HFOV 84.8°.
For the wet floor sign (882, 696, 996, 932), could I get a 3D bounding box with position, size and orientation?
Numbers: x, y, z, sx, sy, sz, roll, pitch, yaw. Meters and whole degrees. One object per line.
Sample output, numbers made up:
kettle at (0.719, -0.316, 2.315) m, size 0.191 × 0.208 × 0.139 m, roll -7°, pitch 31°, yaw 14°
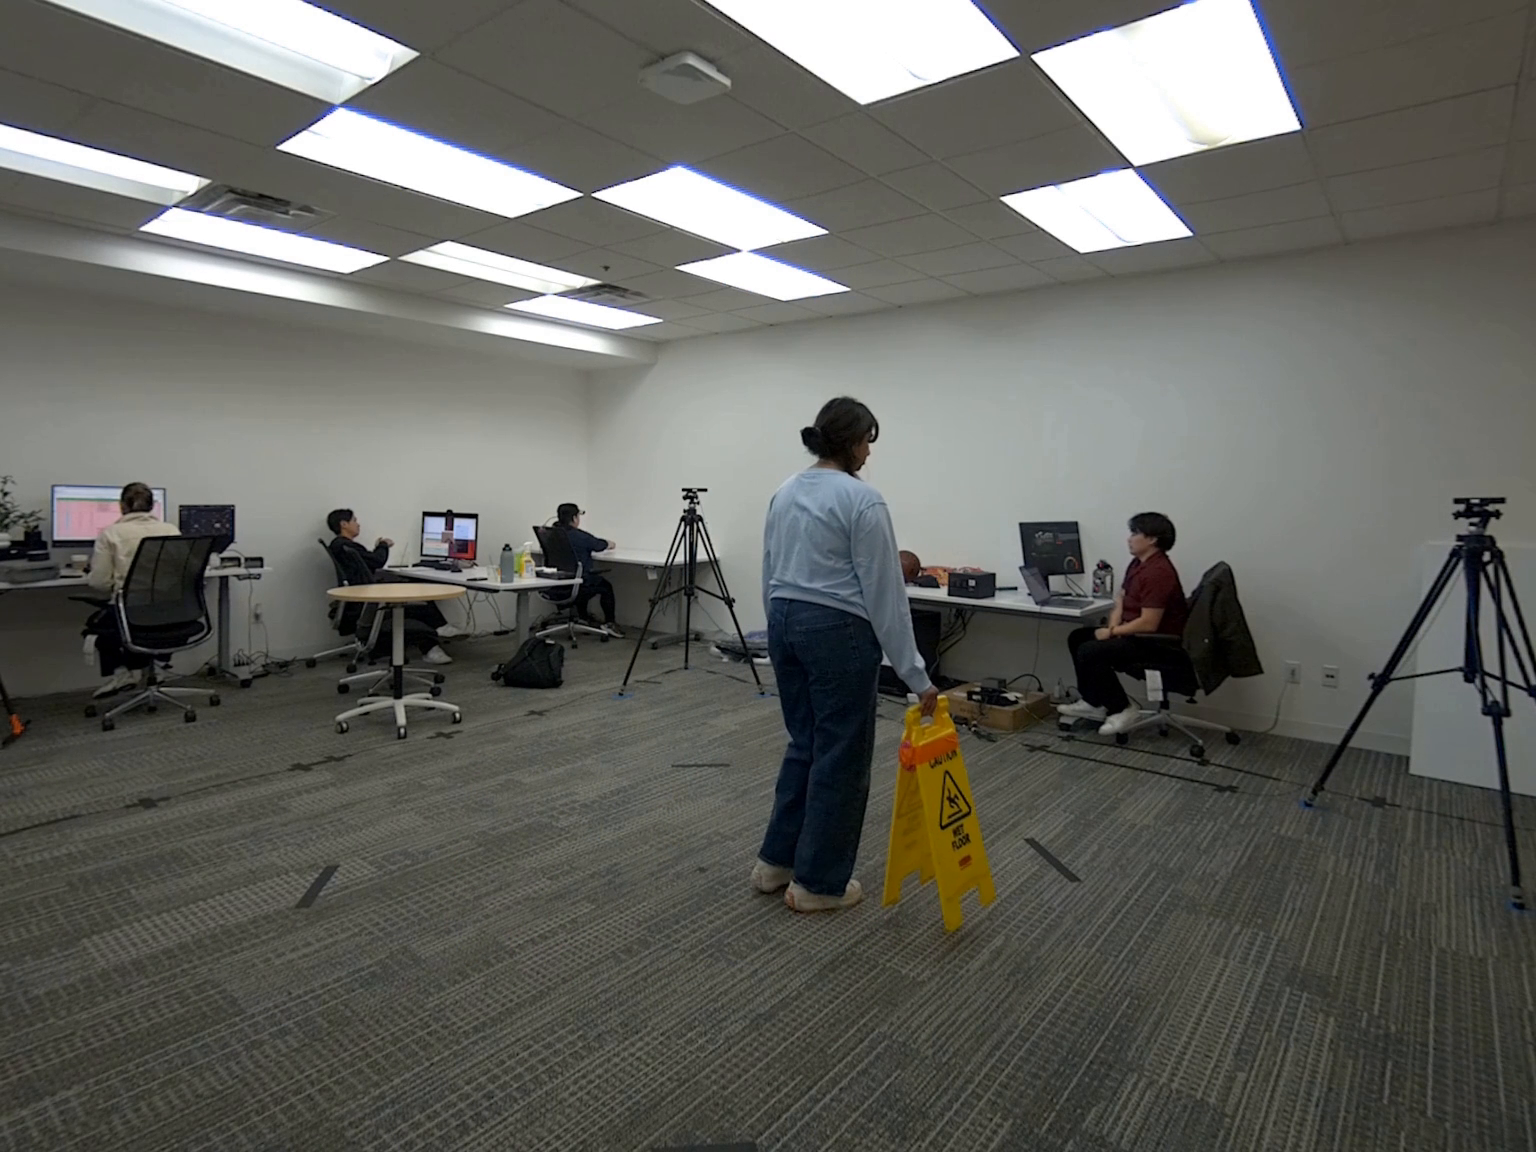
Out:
wet floor sign at (0.514, 0.718, 2.690) m, size 0.299 × 0.644 × 0.274 m, roll 0°, pitch 5°, yaw 45°
